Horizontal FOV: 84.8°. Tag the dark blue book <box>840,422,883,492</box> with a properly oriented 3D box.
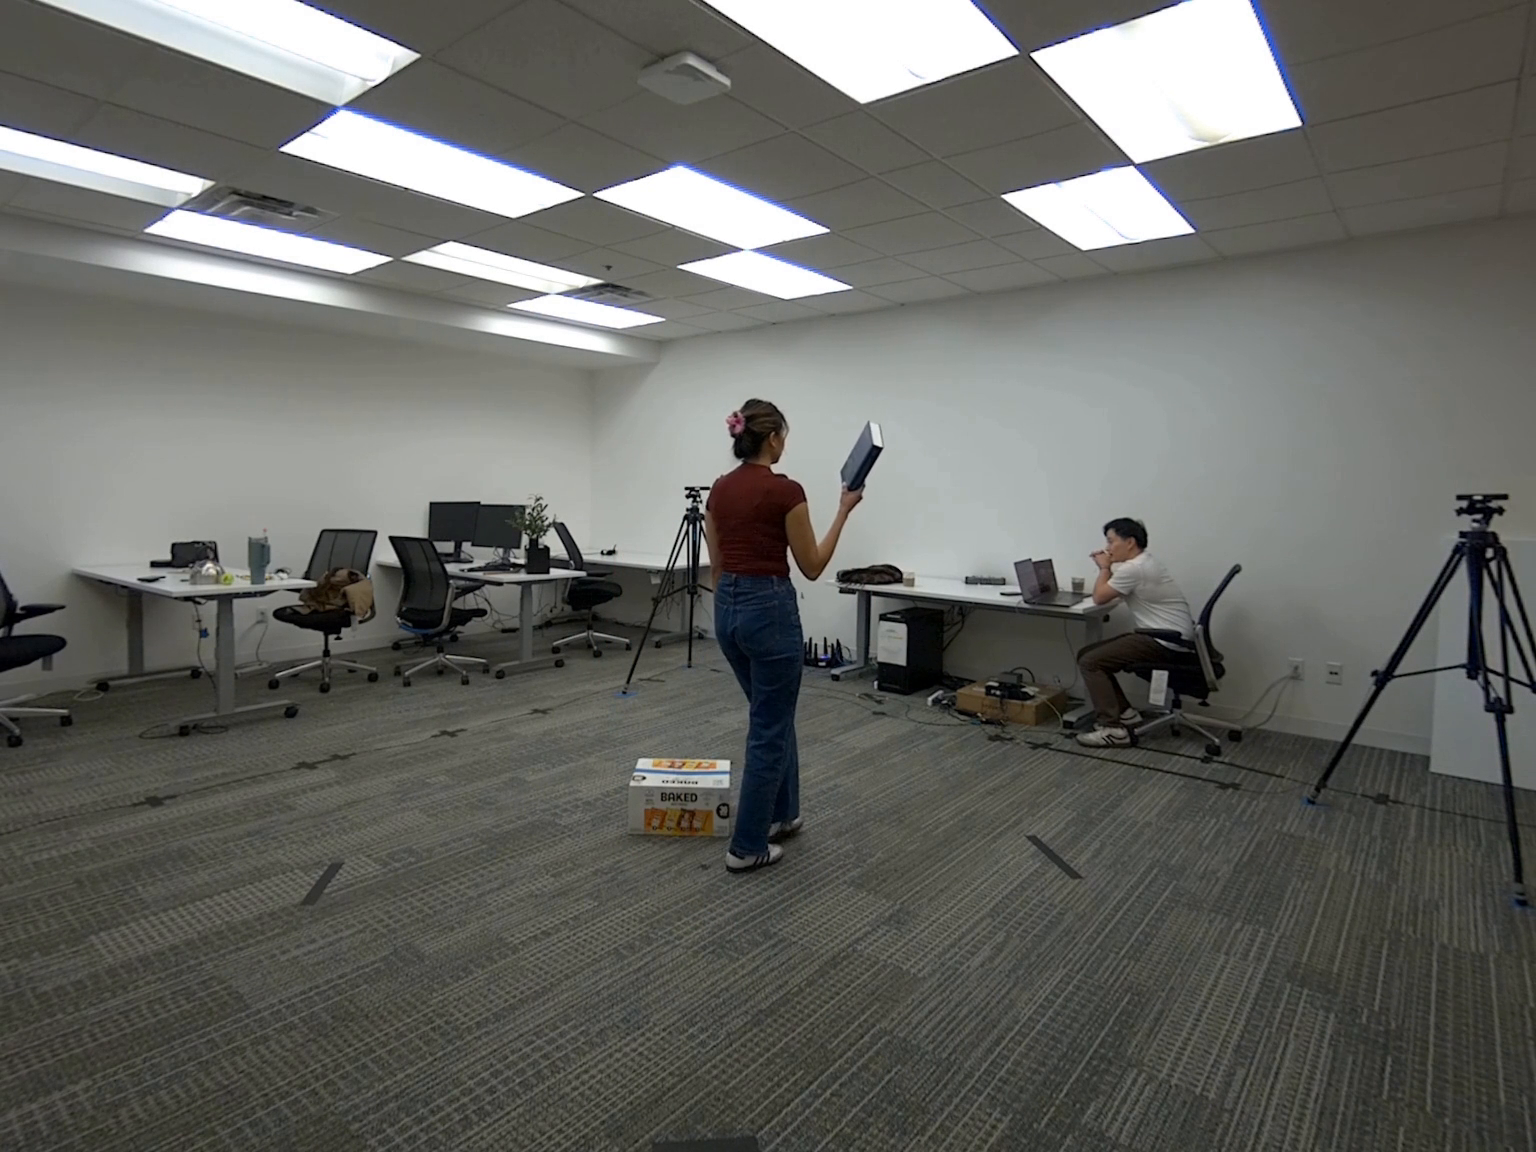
[{"bbox_3d":[0.333,-0.429,3.114,0.044,0.242,0.168,17,38,-14],"label":"dark blue book"}]
